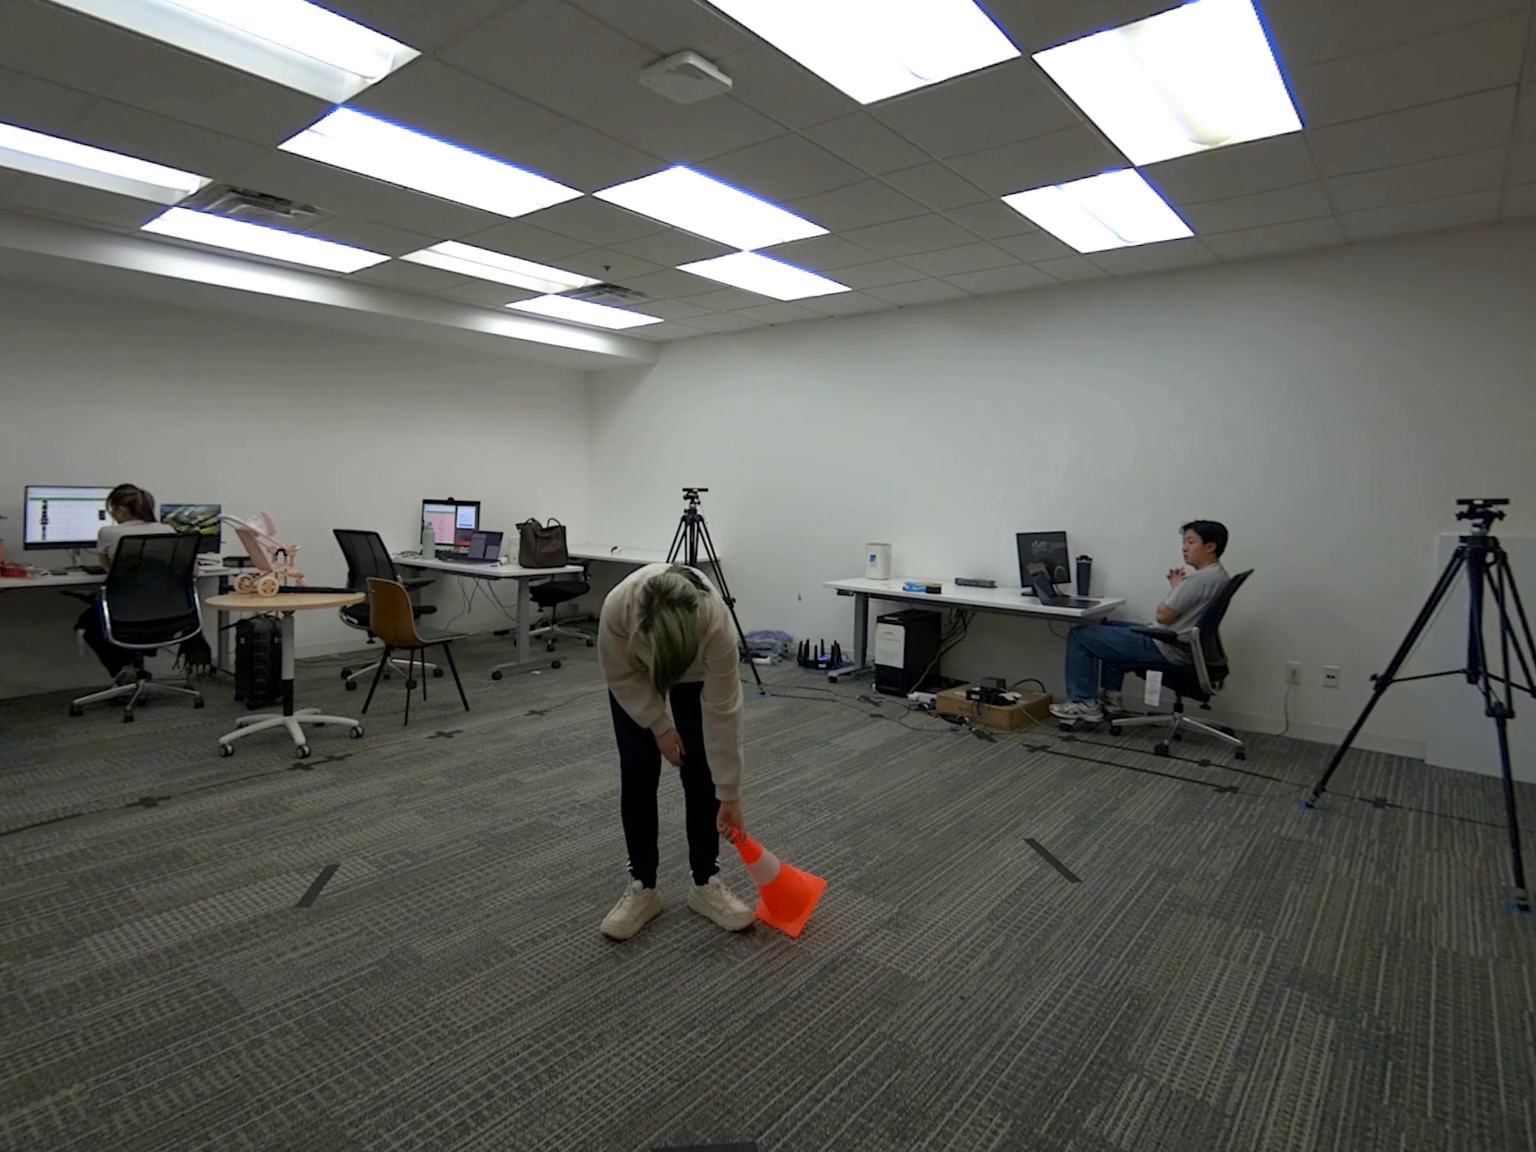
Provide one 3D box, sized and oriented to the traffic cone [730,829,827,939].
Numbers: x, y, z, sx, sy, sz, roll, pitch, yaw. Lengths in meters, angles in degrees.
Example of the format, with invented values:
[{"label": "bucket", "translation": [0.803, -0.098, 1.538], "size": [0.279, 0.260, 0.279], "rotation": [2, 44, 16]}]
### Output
[{"label": "traffic cone", "translation": [-0.022, 0.910, 2.647], "size": [0.212, 0.370, 0.203], "rotation": [10, 51, 51]}]
